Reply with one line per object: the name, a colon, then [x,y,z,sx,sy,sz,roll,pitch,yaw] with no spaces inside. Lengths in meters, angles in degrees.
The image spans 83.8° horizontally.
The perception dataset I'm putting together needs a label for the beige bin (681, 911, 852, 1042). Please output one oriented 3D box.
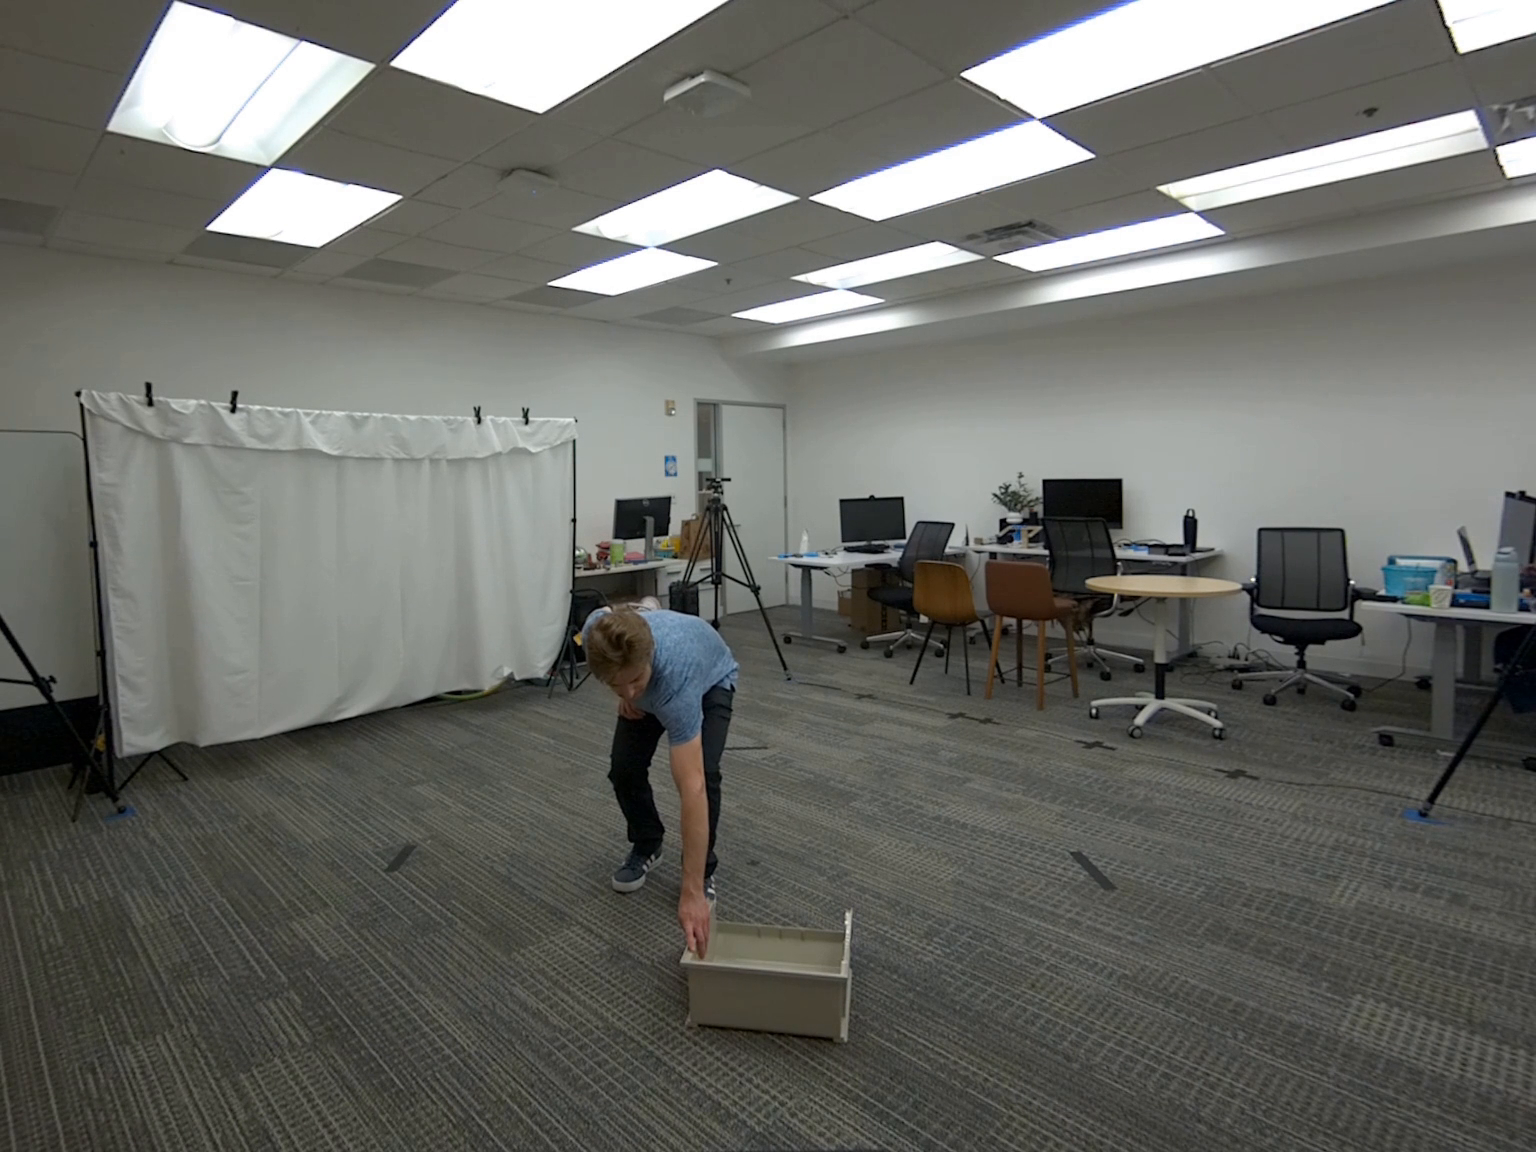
beige bin: [0.016,1.046,2.313,0.426,0.188,0.376,0,7,9]
